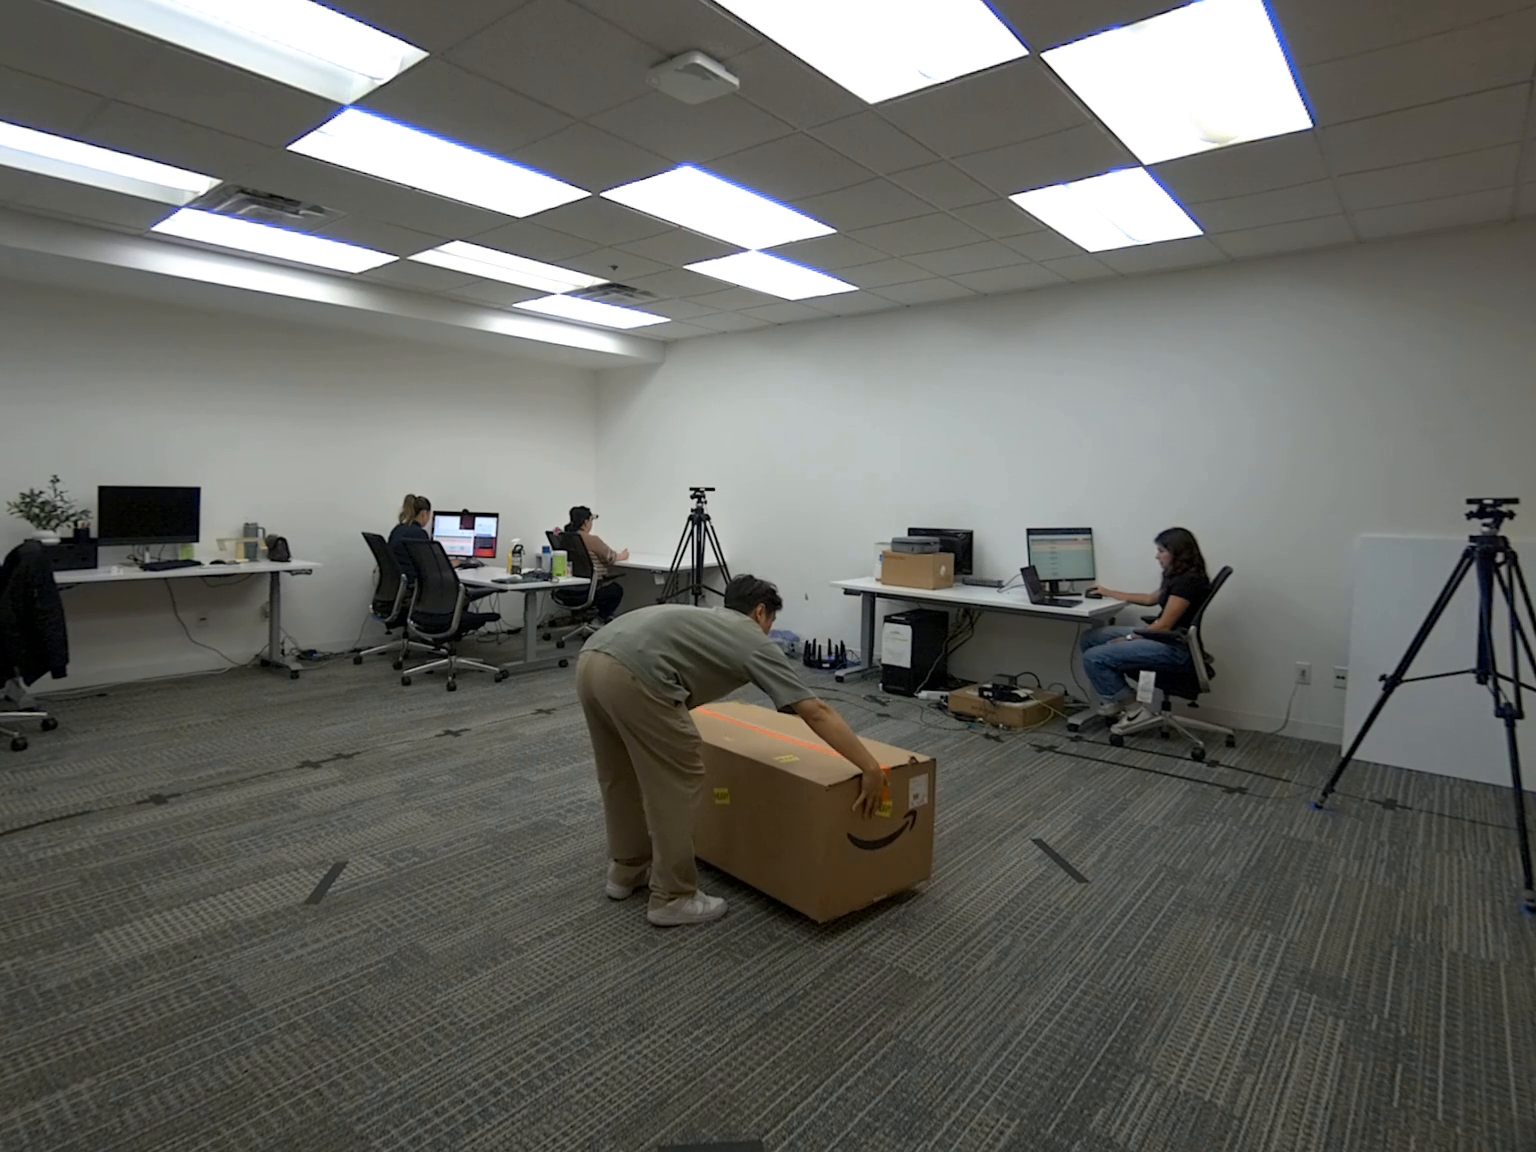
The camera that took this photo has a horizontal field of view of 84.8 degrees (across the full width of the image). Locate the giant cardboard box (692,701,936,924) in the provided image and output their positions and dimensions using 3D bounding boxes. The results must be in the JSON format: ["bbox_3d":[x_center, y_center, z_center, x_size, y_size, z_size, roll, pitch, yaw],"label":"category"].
[{"bbox_3d":[0.013,0.789,3.154,0.559,0.425,1.061,-1,5,-42],"label":"giant cardboard box"}]
